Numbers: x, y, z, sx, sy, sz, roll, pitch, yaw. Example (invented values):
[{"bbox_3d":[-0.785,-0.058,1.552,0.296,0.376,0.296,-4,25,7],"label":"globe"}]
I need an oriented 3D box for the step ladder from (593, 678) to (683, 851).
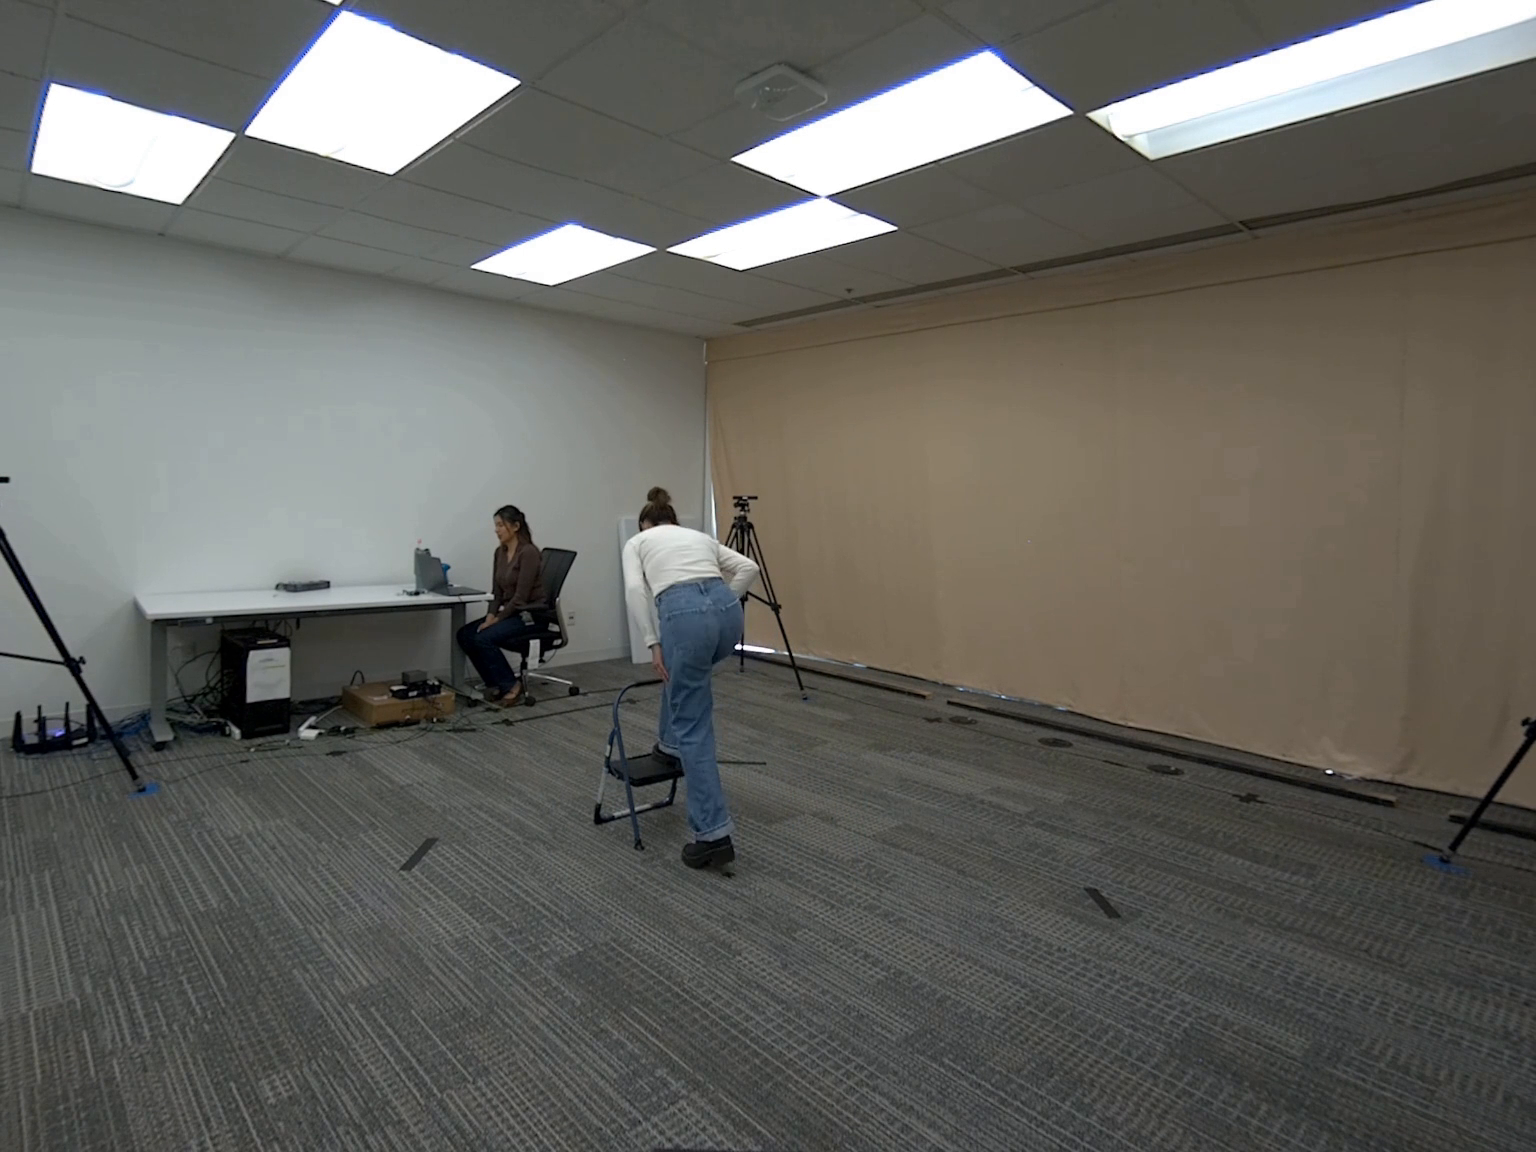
[{"bbox_3d":[-0.473,0.754,3.553,0.421,0.605,0.358,-1,4,-44],"label":"step ladder"}]
